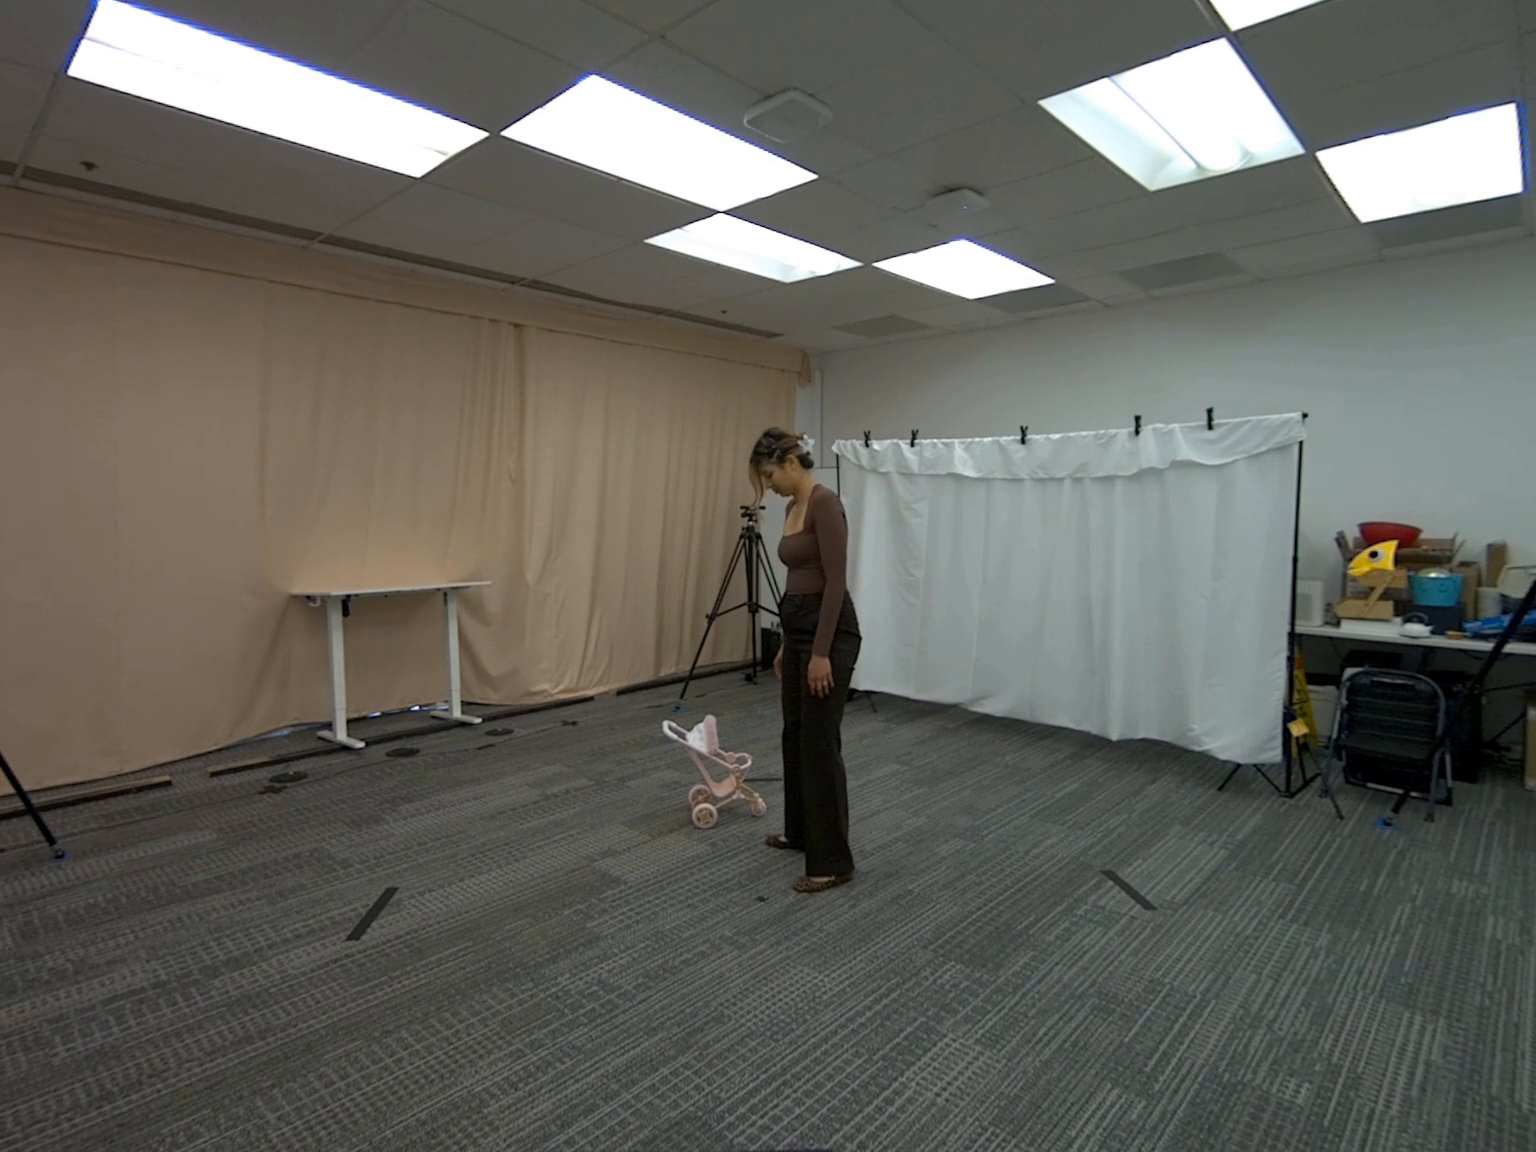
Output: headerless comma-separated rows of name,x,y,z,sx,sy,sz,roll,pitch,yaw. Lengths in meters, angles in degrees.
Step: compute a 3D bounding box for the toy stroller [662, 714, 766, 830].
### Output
toy stroller,-0.229,0.857,3.758,0.341,0.533,0.282,-17,3,-1
